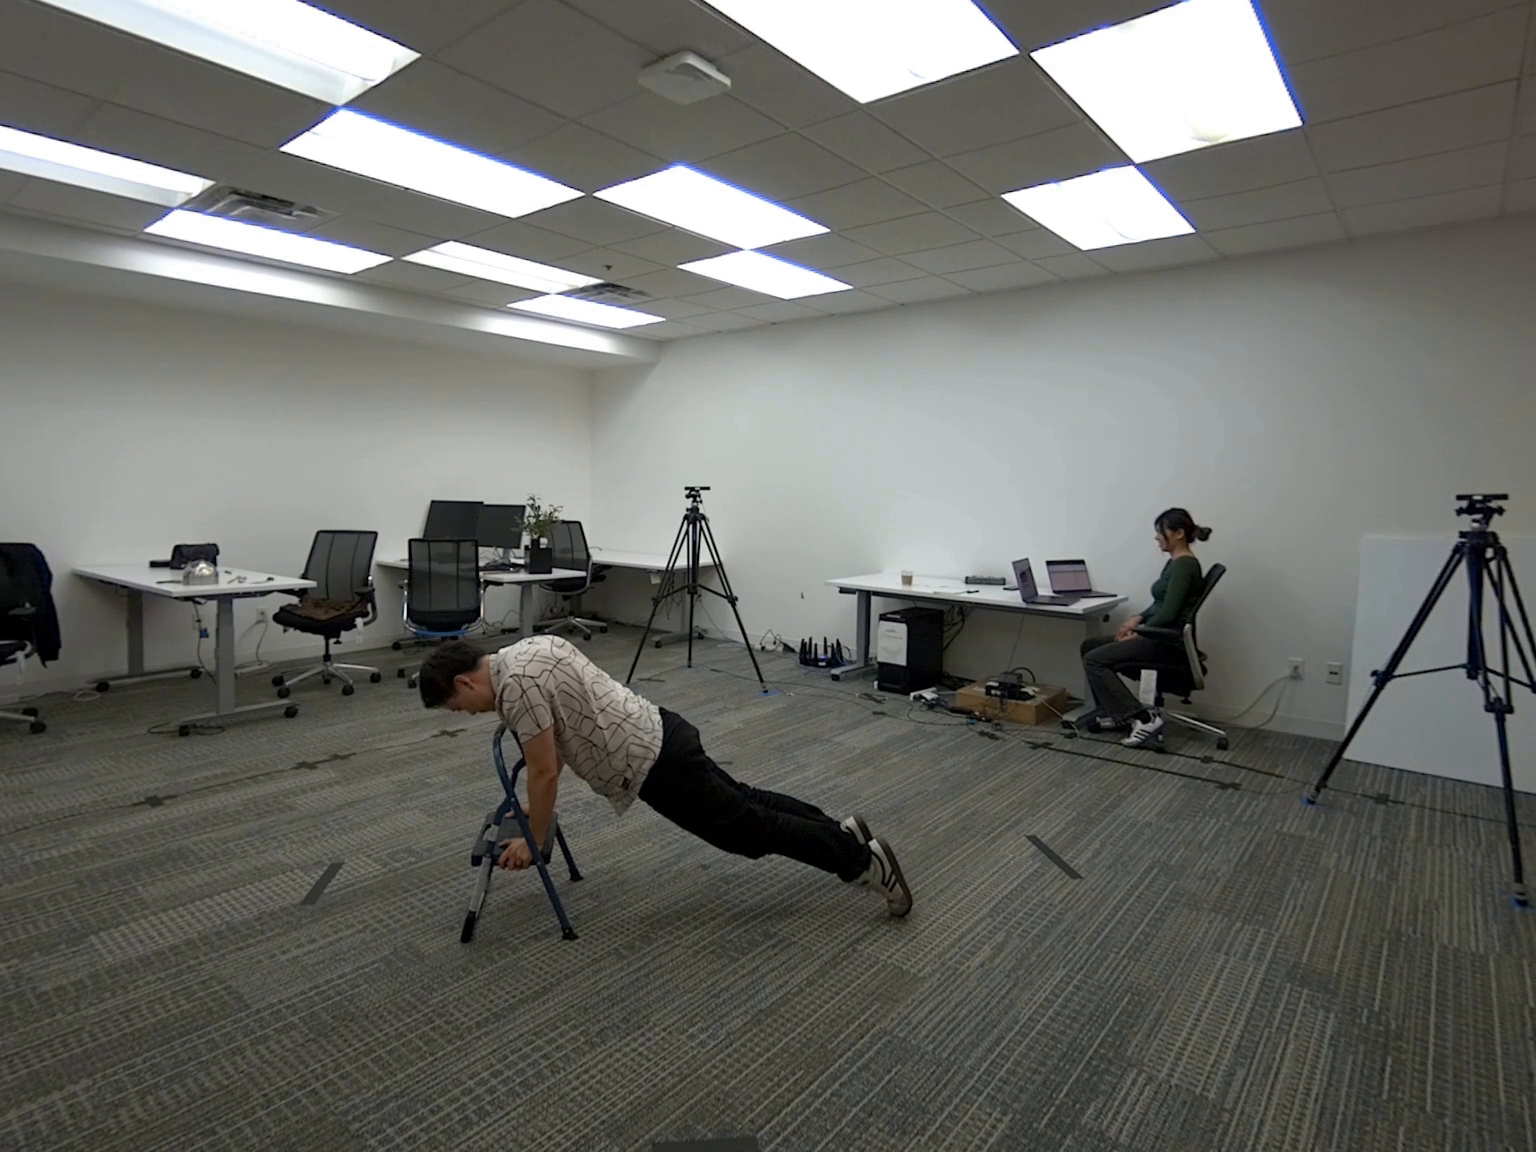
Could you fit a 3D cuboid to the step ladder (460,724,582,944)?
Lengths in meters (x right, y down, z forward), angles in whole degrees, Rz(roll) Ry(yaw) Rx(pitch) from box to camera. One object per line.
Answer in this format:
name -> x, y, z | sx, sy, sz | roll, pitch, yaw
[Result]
step ladder -> -0.805, 0.793, 2.782 | 0.346, 0.605, 0.436 | 1, 3, -9
